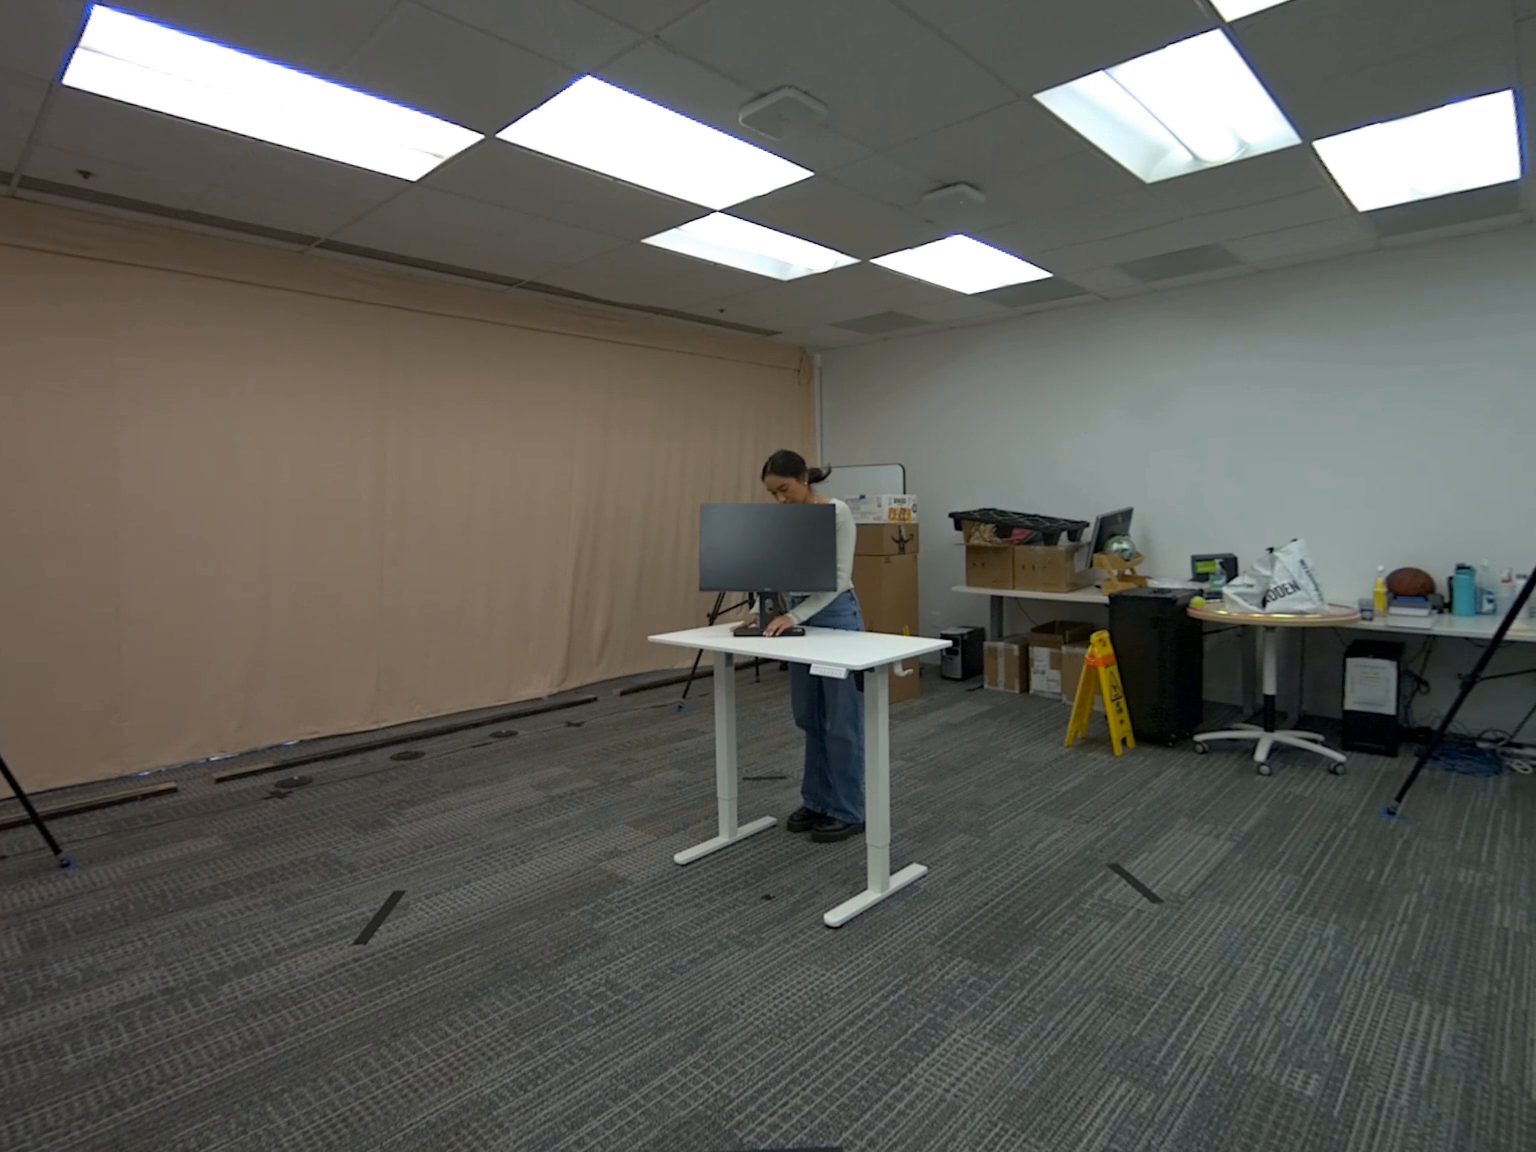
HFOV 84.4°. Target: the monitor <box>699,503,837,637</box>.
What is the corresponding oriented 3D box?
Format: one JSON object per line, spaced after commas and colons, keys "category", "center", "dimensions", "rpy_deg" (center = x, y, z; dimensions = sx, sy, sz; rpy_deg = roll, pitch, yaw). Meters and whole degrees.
{"category": "monitor", "center": [-0.005, -0.028, 3.329], "dimensions": [0.531, 0.514, 0.175], "rpy_deg": [1, 5, 2]}
